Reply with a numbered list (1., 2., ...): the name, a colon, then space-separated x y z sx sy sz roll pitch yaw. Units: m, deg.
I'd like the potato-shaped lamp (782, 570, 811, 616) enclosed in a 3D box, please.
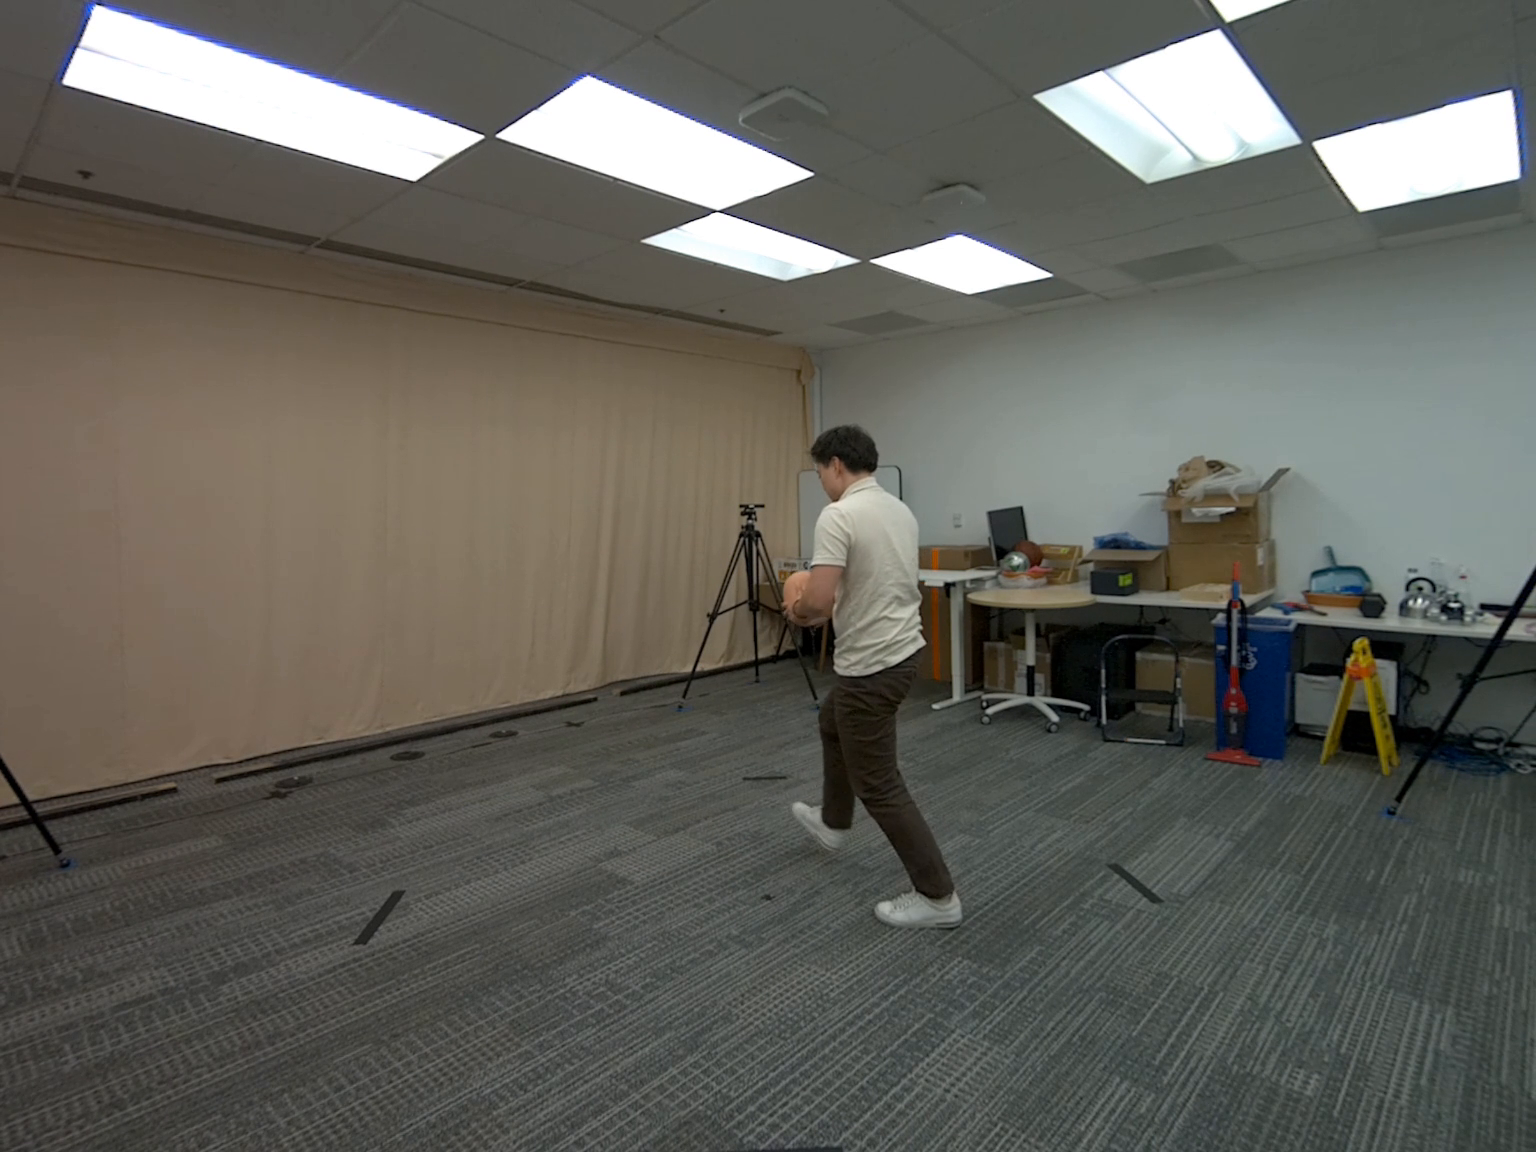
1. potato-shaped lamp: 0.153 0.088 3.071 0.175 0.199 0.160 -20 -9 40
